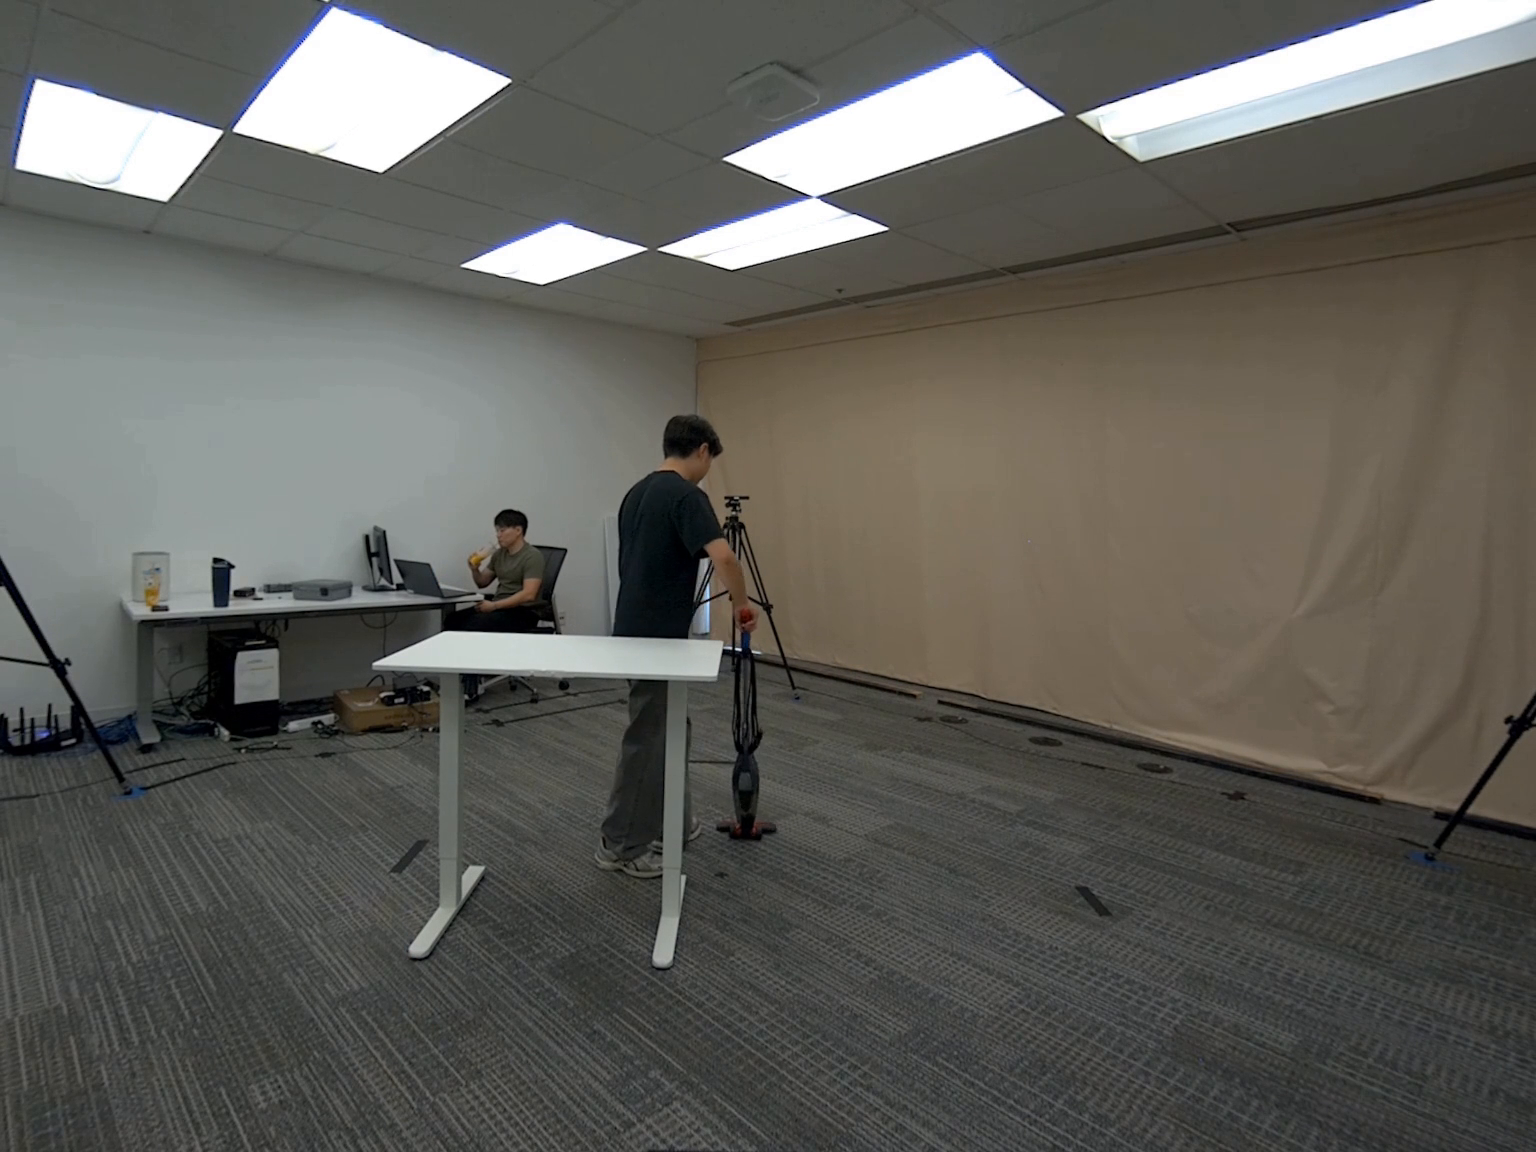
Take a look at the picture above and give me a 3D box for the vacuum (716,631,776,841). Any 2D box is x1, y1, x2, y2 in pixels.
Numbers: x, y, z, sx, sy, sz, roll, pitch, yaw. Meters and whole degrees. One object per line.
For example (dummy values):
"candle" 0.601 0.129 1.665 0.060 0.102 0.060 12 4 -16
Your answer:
"vacuum" -0.097 0.600 3.282 0.254 1.031 0.146 2 26 5
